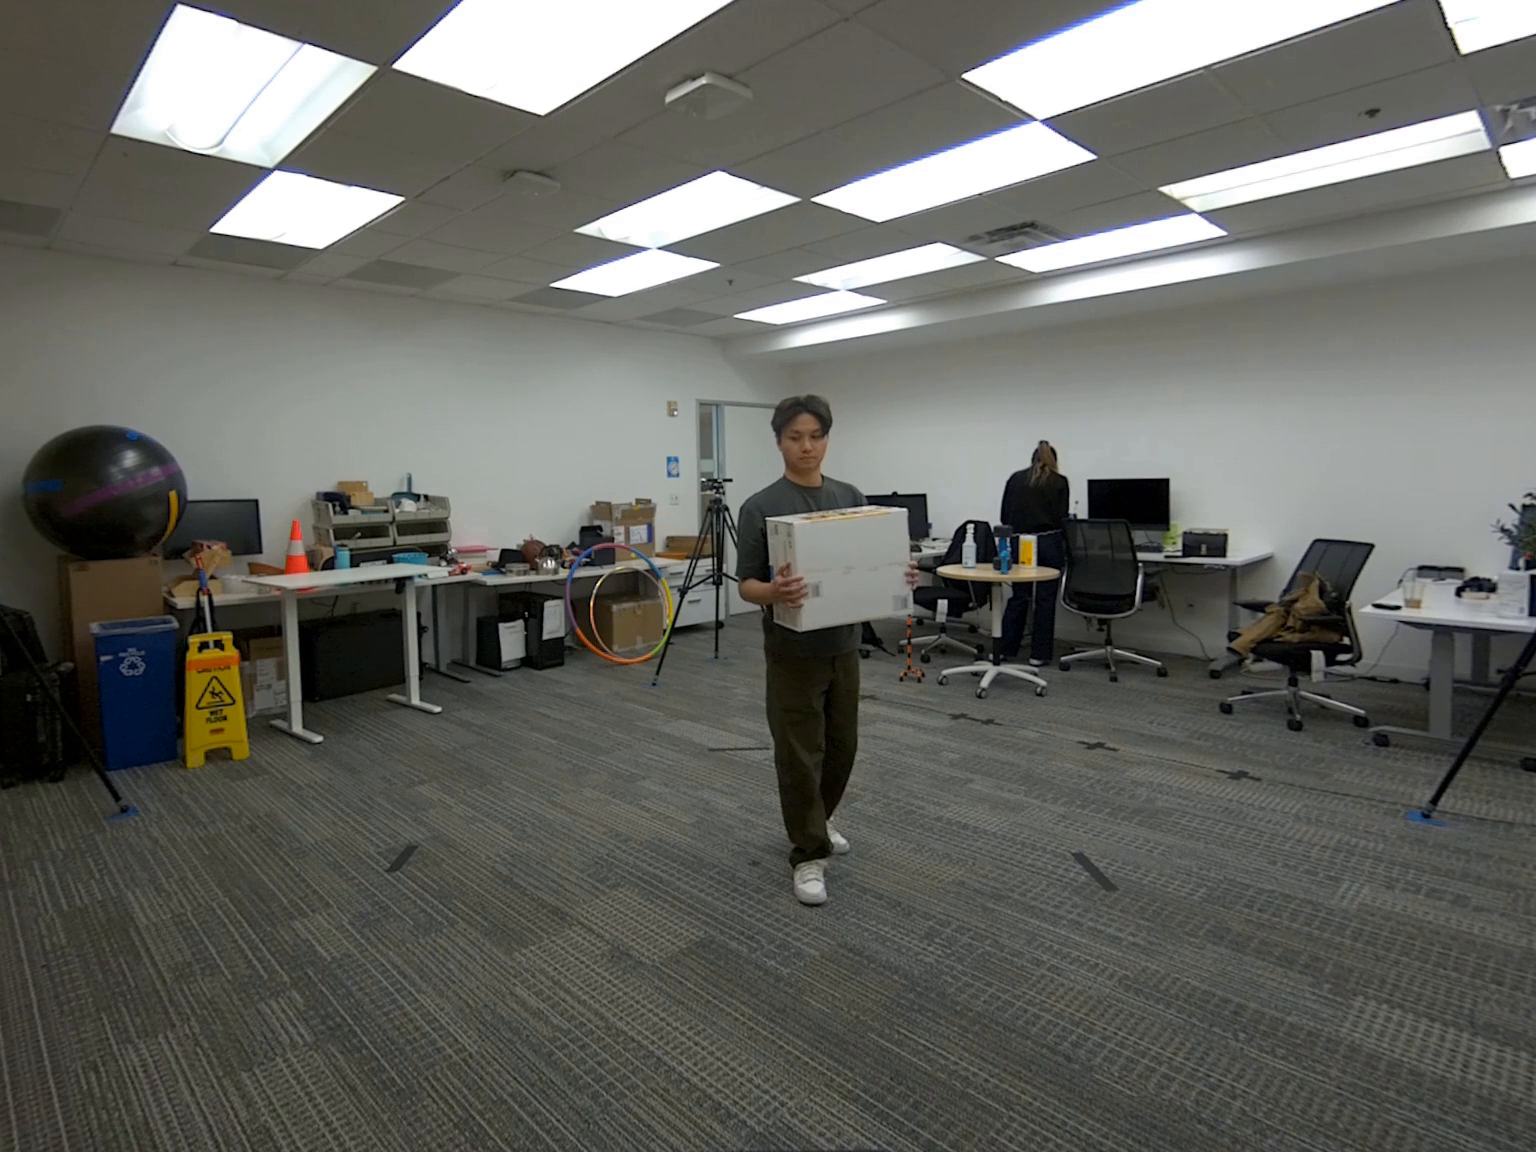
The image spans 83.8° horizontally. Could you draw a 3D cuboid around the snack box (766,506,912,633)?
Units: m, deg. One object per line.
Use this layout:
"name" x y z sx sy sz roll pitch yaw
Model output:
"snack box" 0.221 -0.029 2.728 0.398 0.338 0.210 -8 7 -21
